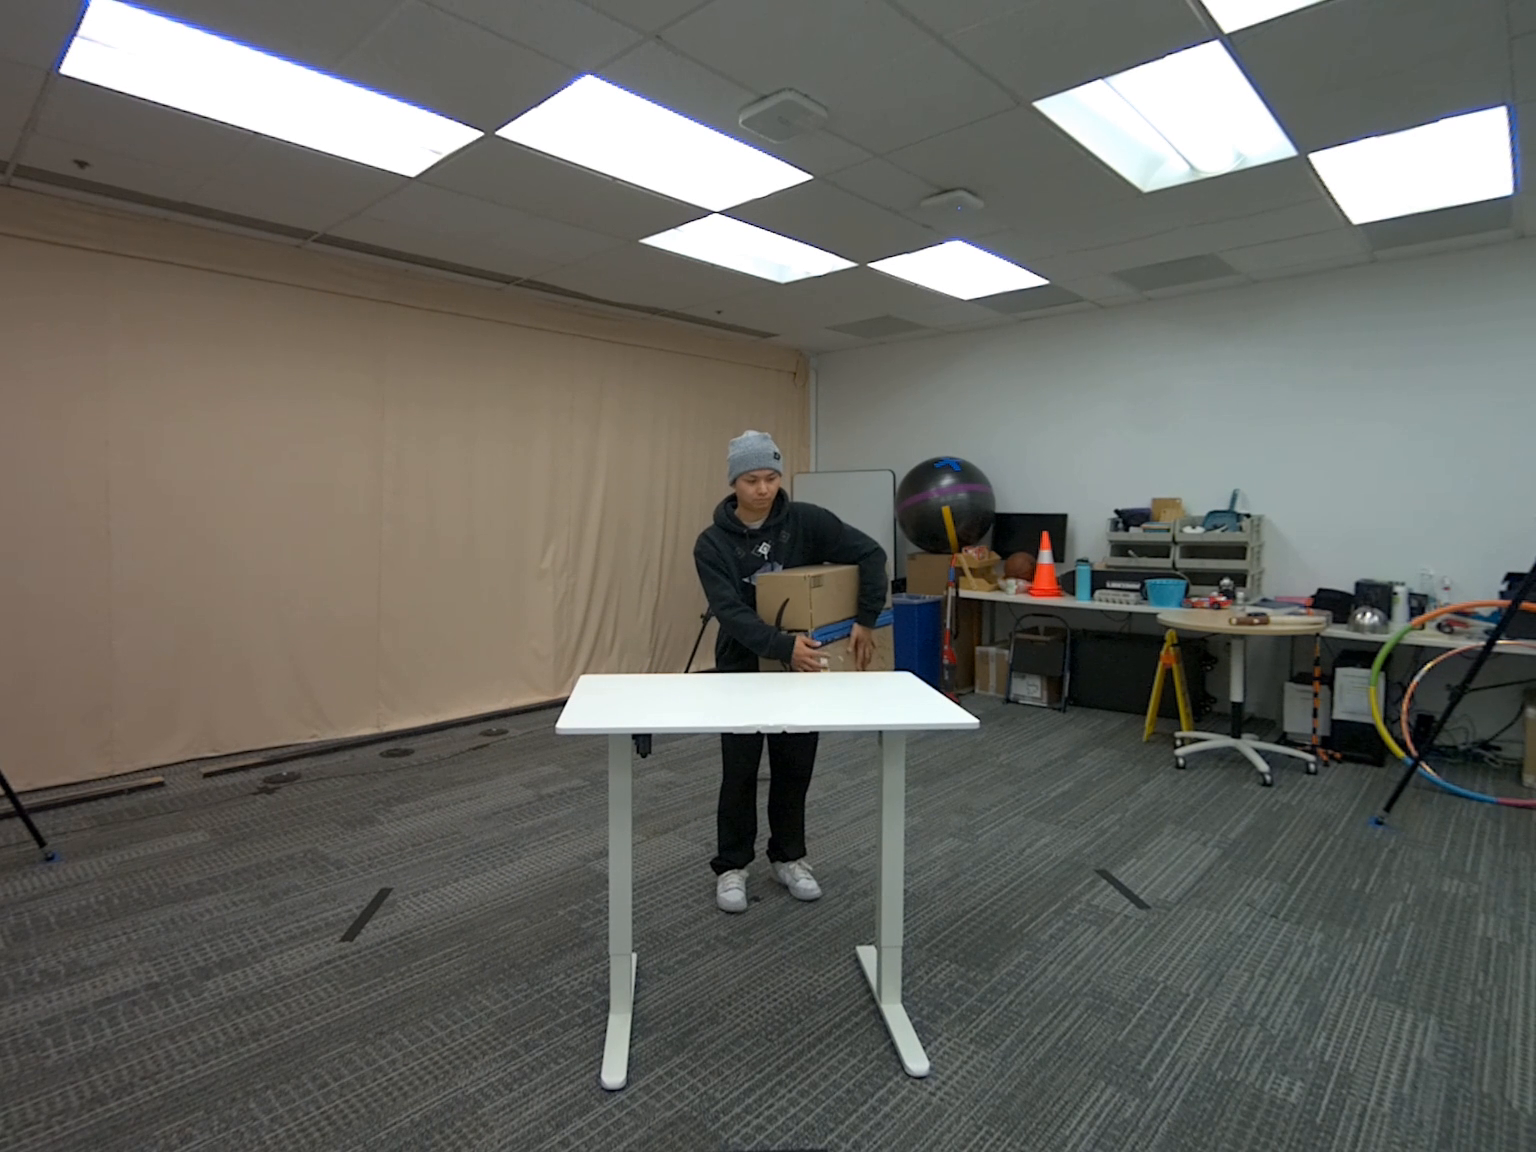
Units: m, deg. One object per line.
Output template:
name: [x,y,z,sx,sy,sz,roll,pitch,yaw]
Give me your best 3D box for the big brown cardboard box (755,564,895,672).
big brown cardboard box: [0.214,0.177,2.964,0.240,0.416,0.572,-1,4,35]
